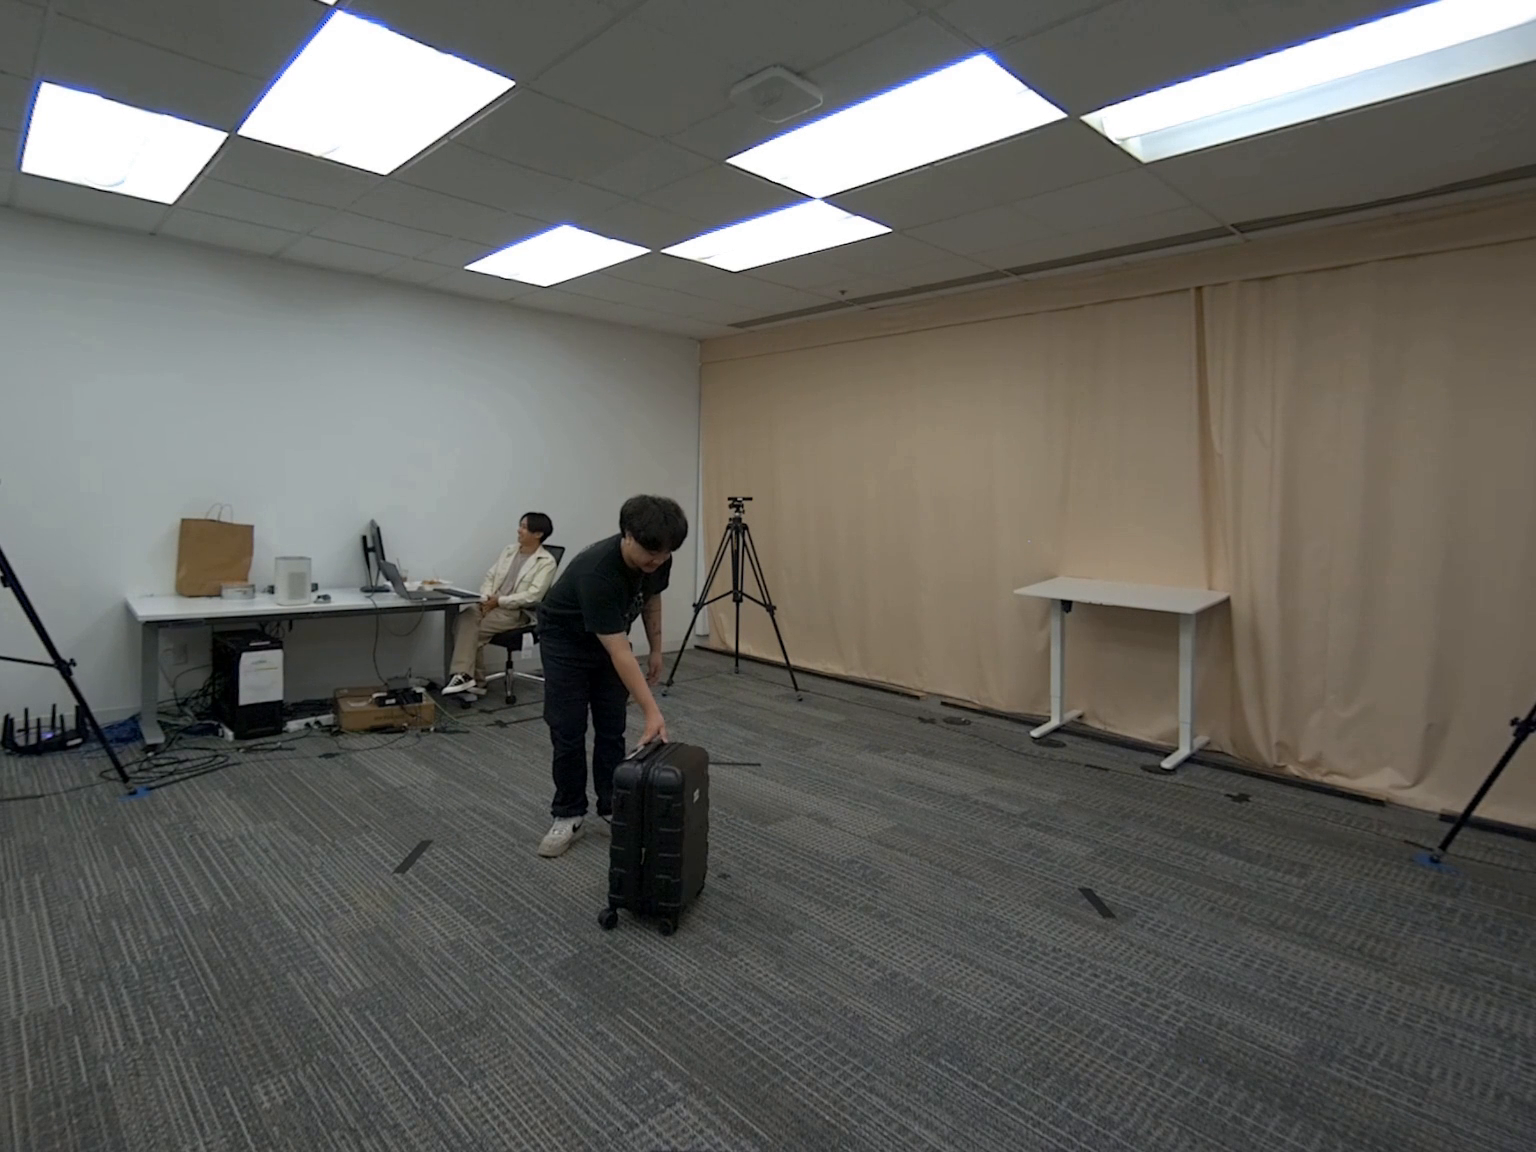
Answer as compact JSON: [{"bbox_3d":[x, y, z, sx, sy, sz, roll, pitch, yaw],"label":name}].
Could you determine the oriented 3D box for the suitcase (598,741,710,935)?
[{"bbox_3d":[-0.367,0.852,2.828,0.251,0.548,0.372,4,3,13],"label":"suitcase"}]
